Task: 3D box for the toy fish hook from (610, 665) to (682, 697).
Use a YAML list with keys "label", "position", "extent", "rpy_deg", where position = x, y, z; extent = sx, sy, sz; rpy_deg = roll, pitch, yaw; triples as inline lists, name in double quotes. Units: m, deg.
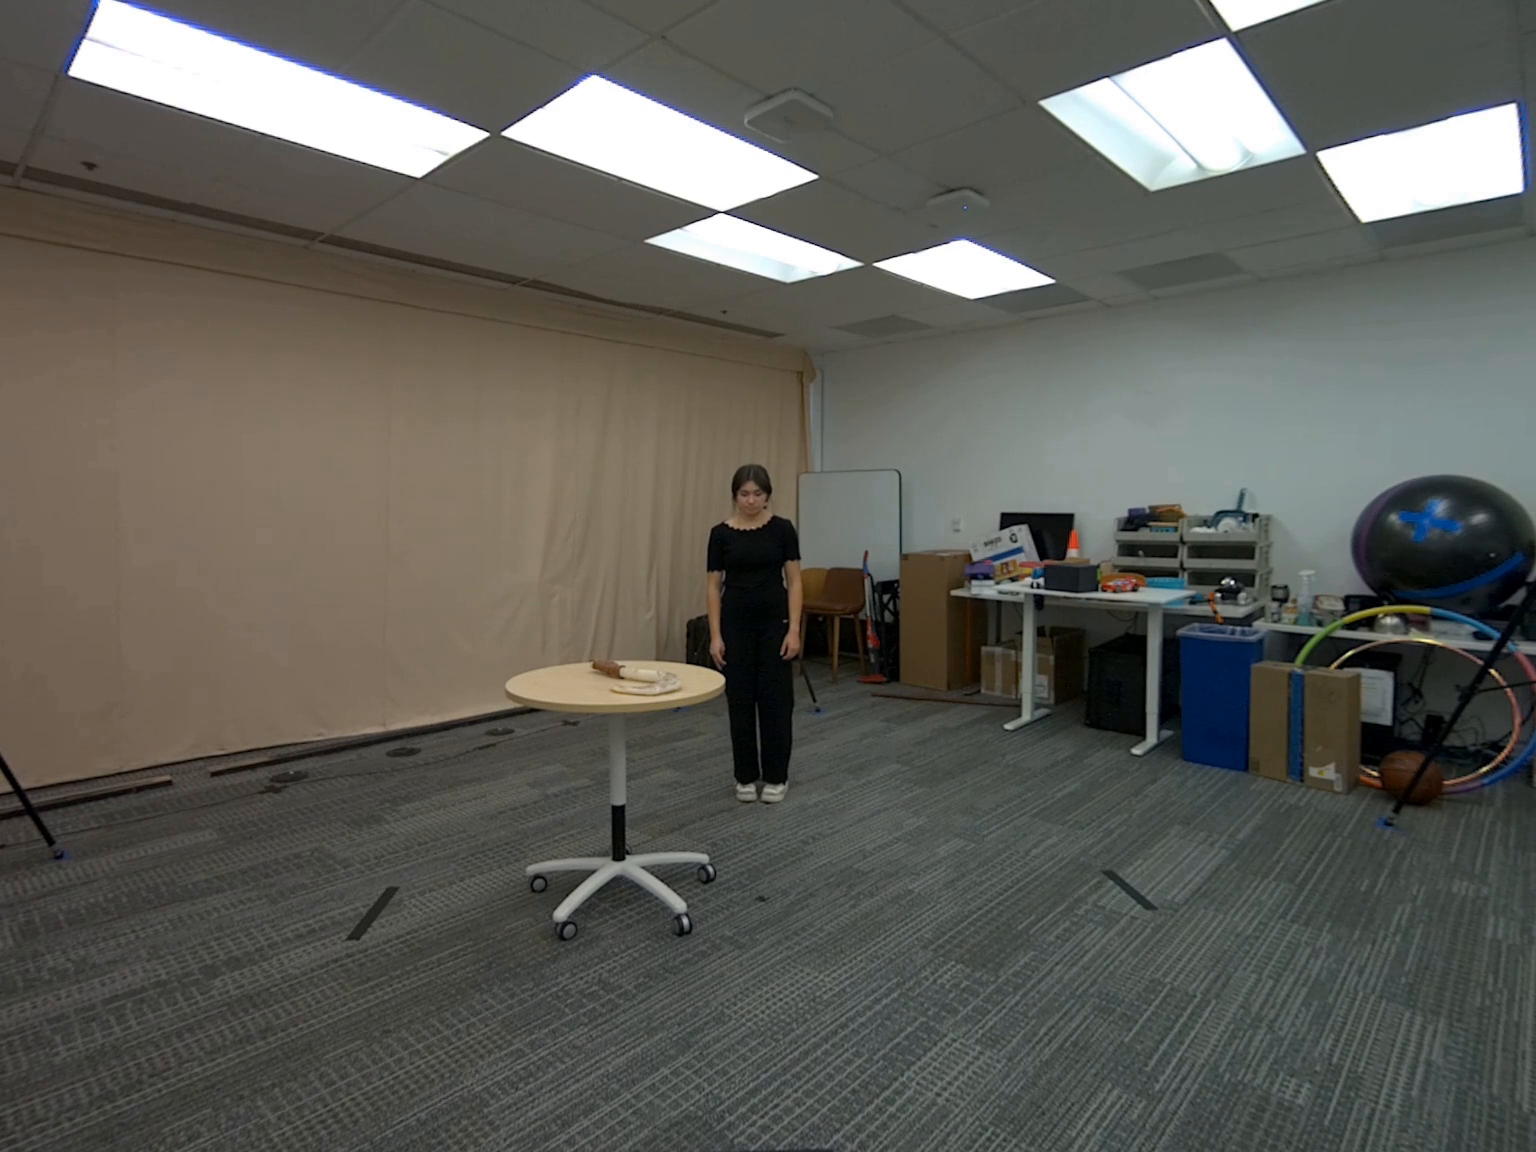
- label: "toy fish hook"
  position: [-0.501, 0.347, 2.914]
  extent: [0.217, 0.048, 0.524]
  rpy_deg: [0, 4, -42]
